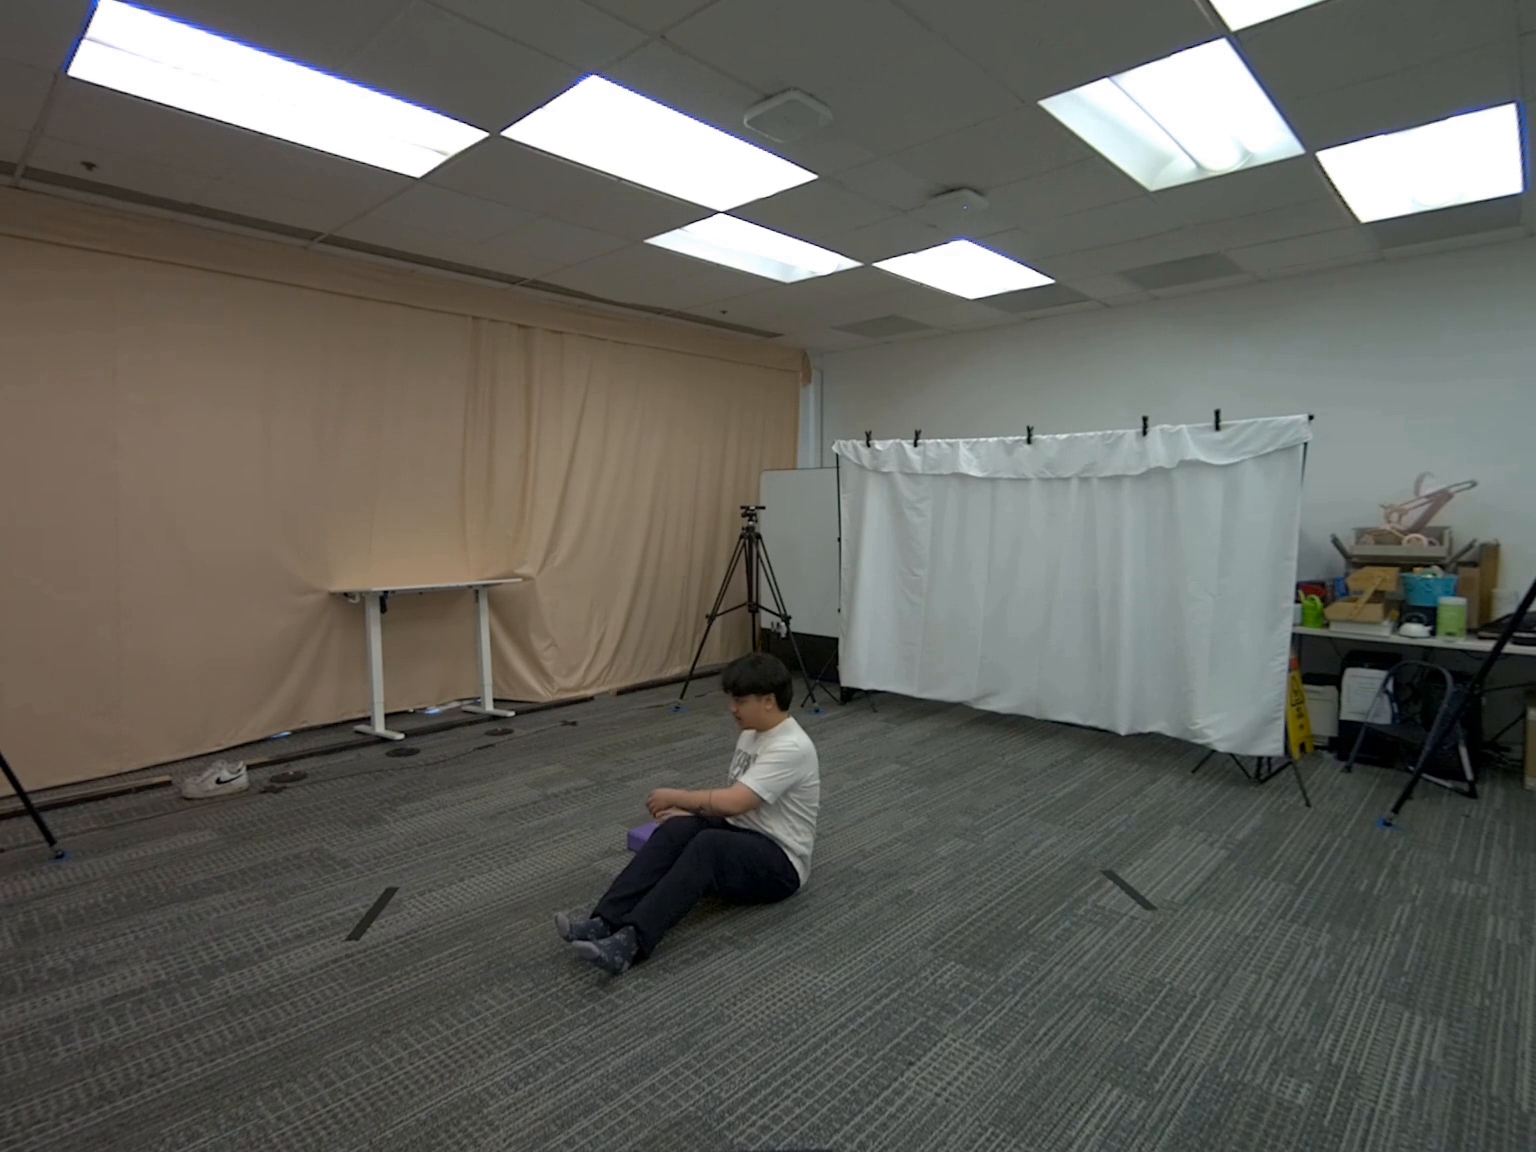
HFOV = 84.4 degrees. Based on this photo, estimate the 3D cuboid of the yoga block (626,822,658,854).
[{"bbox_3d":[-0.443,1.072,3.398,0.237,0.076,0.144,3,7,42],"label":"yoga block"}]
